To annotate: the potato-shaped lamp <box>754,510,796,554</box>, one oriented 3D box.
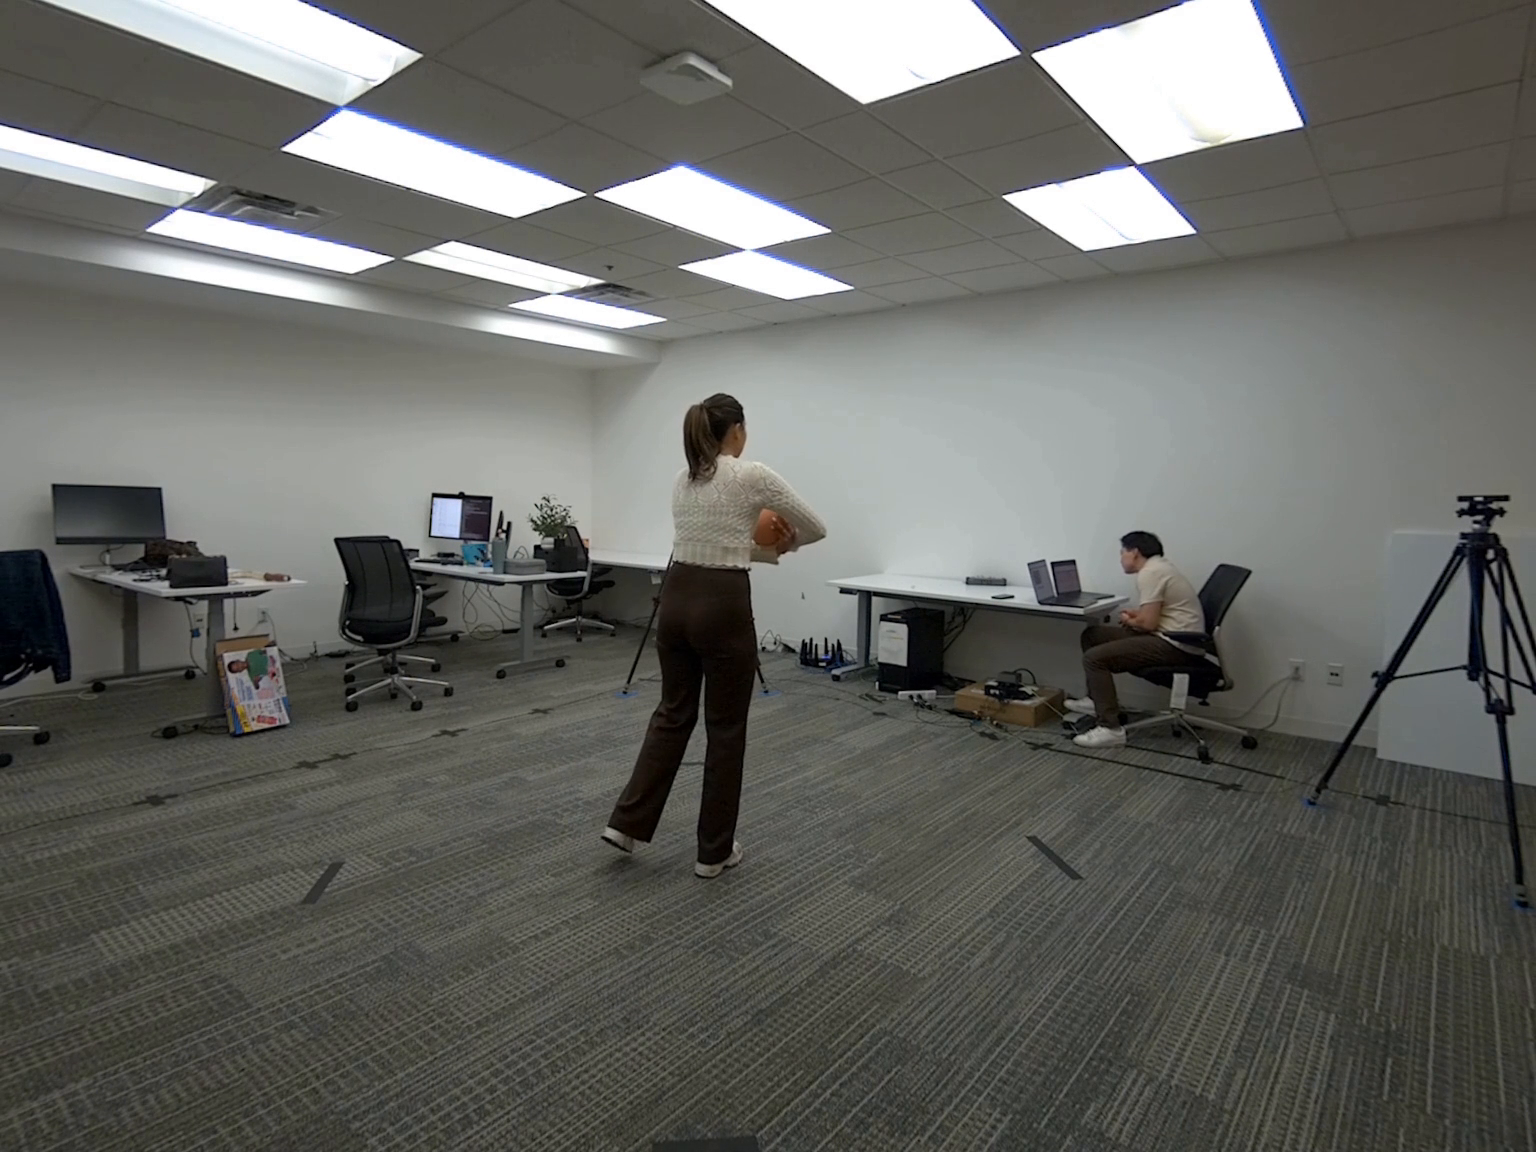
[{"bbox_3d":[-0.009,-0.210,3.226,0.178,0.197,0.159,48,19,31],"label":"potato-shaped lamp"}]
